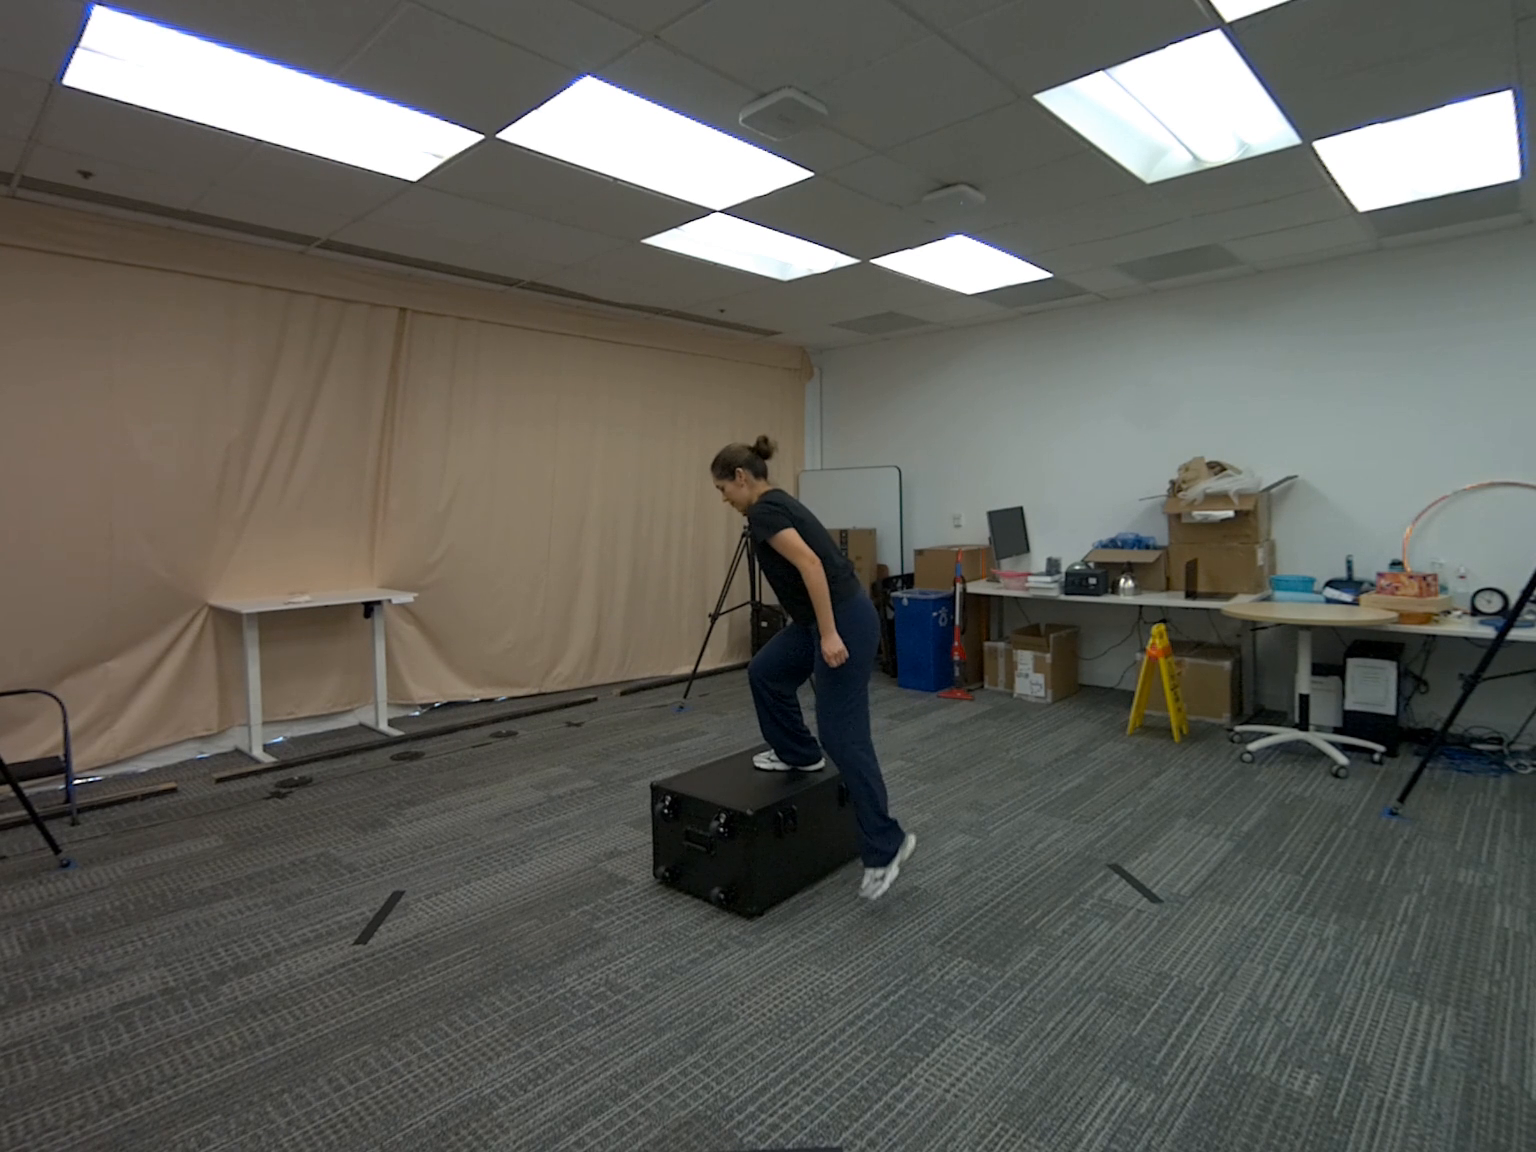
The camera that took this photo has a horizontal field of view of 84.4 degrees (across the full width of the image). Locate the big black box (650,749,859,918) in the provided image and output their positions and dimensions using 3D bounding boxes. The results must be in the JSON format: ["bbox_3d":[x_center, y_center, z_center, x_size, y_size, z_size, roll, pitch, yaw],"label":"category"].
[{"bbox_3d":[-0.010,0.932,3.212,0.538,0.395,0.835,2,5,40],"label":"big black box"}]
